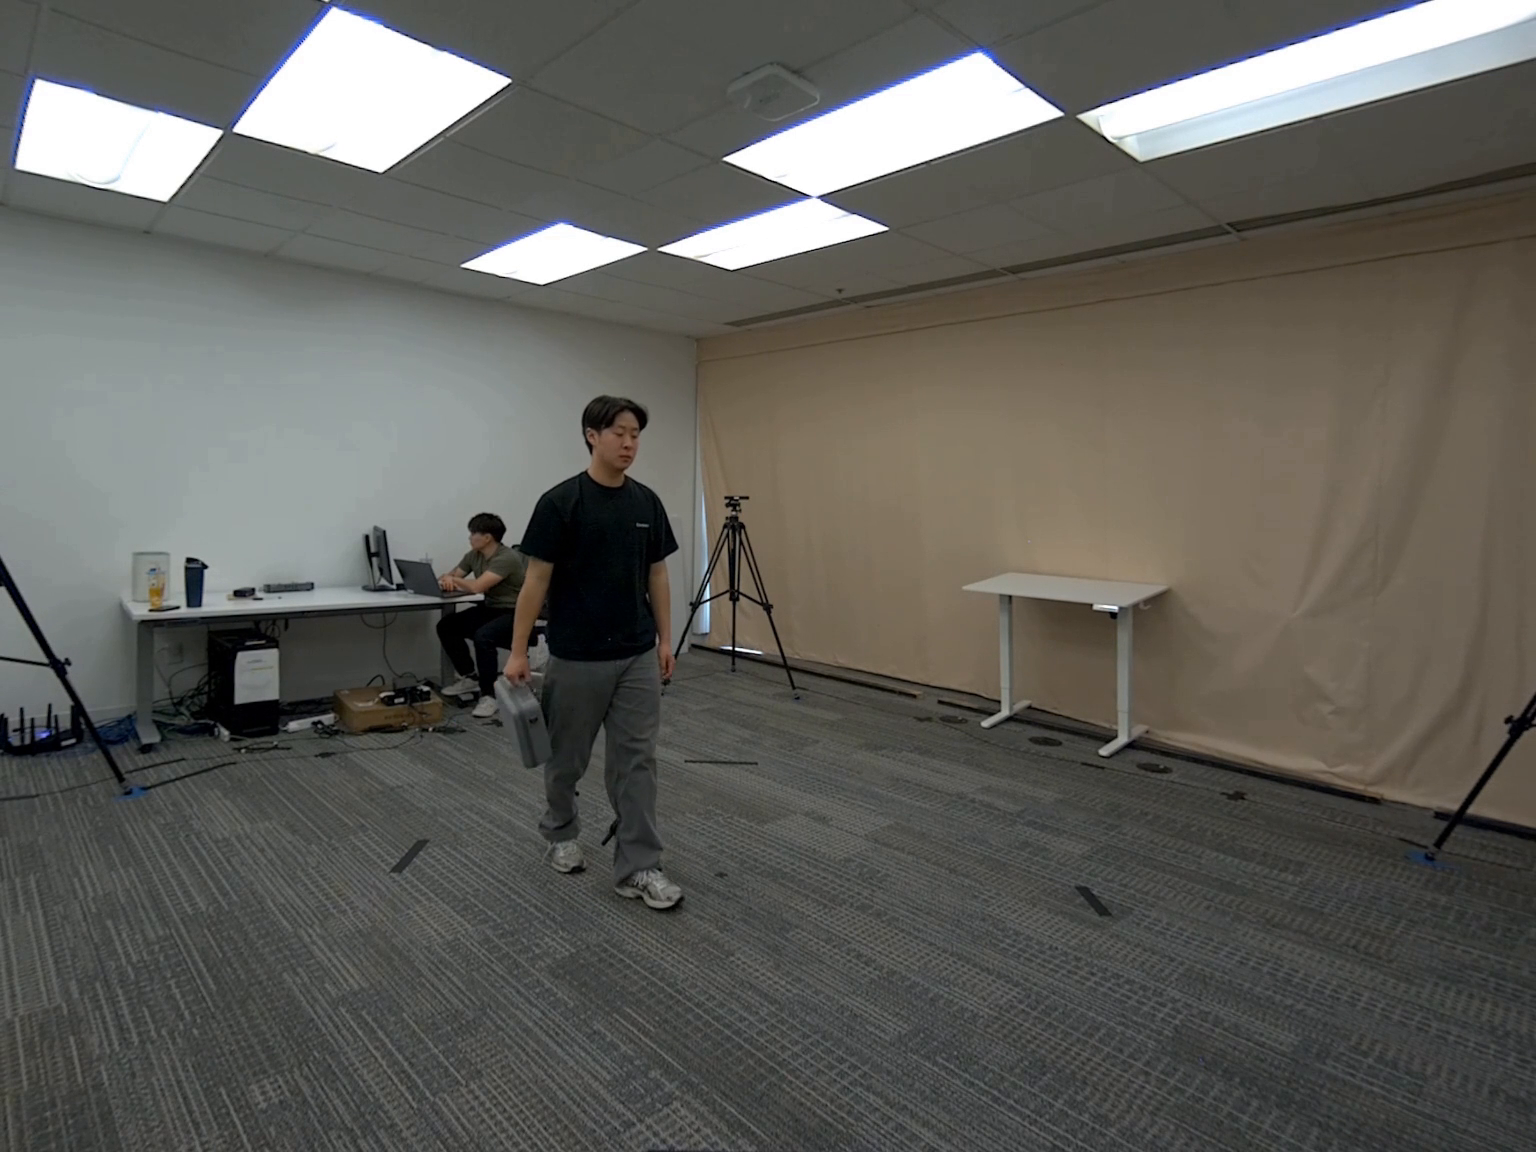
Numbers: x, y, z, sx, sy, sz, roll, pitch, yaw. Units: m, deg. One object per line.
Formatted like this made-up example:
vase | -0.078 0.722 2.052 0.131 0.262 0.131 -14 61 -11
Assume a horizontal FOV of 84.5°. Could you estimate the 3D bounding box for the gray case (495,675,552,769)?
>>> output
gray case | -0.854 0.488 2.913 0.101 0.283 0.271 -13 25 -29
